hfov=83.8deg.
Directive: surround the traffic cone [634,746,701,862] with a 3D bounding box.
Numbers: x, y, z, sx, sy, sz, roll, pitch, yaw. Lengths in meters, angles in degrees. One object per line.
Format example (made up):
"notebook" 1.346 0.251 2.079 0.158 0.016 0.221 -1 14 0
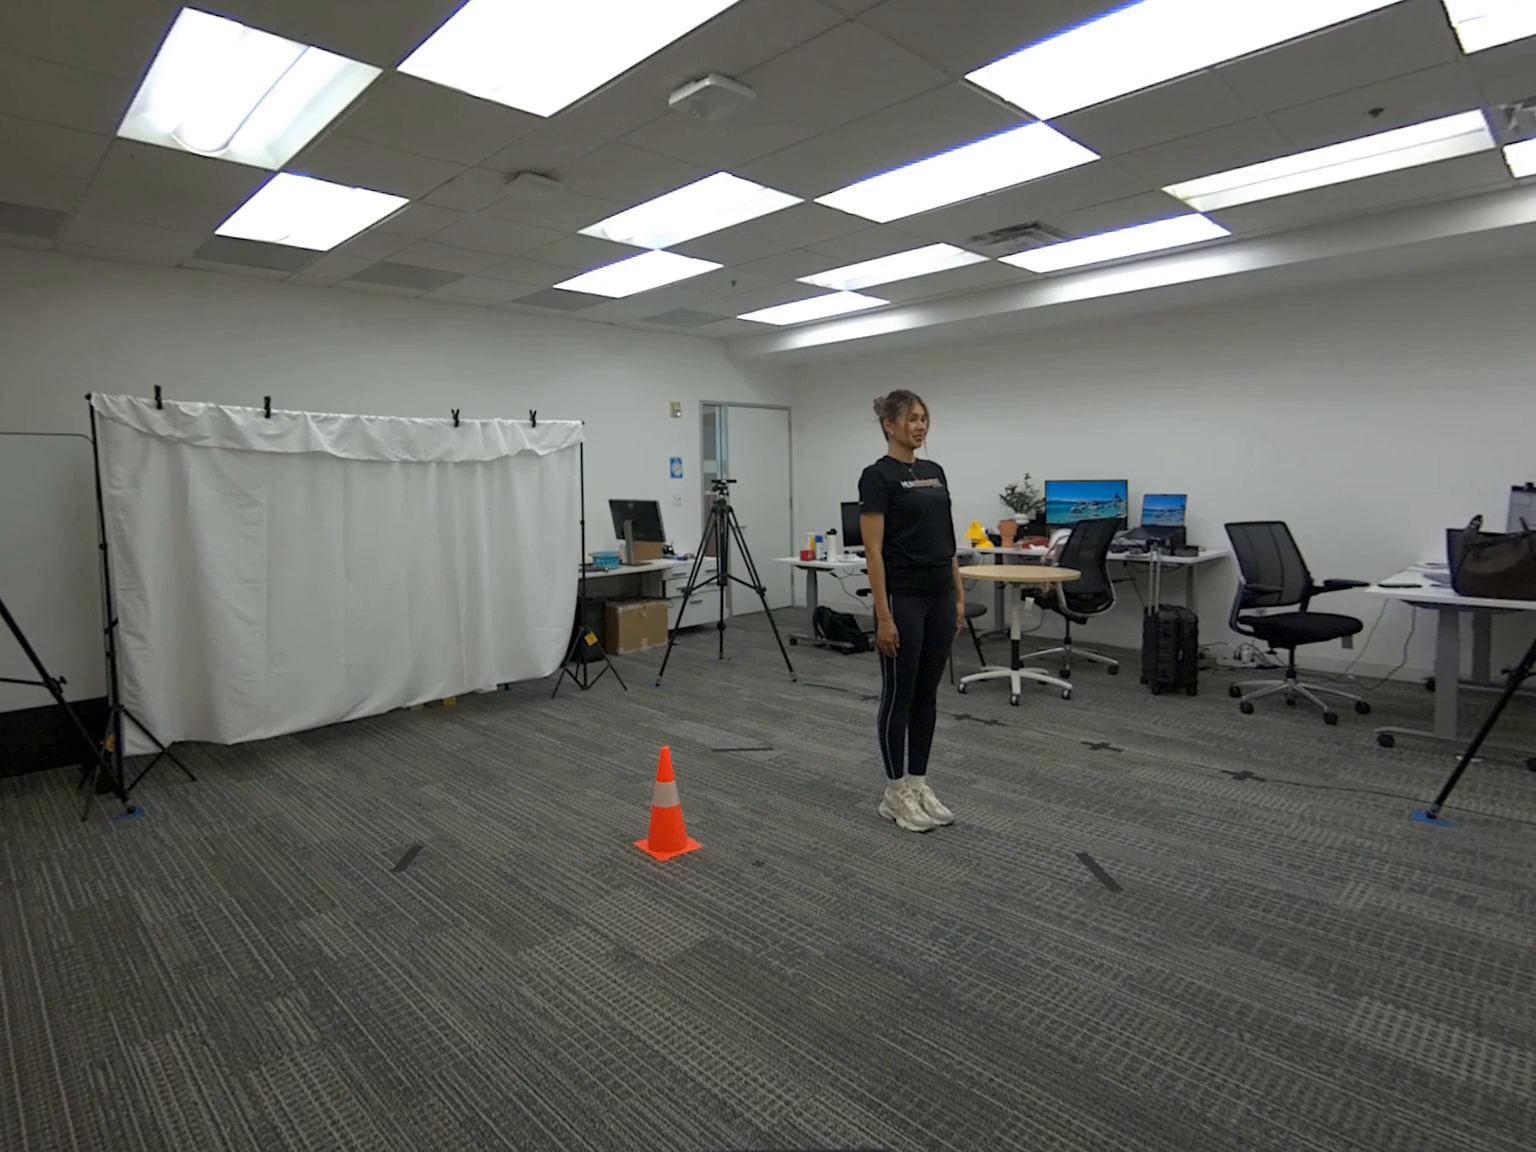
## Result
"traffic cone" -0.383 0.853 3.267 0.200 0.383 0.209 -3 4 -32
